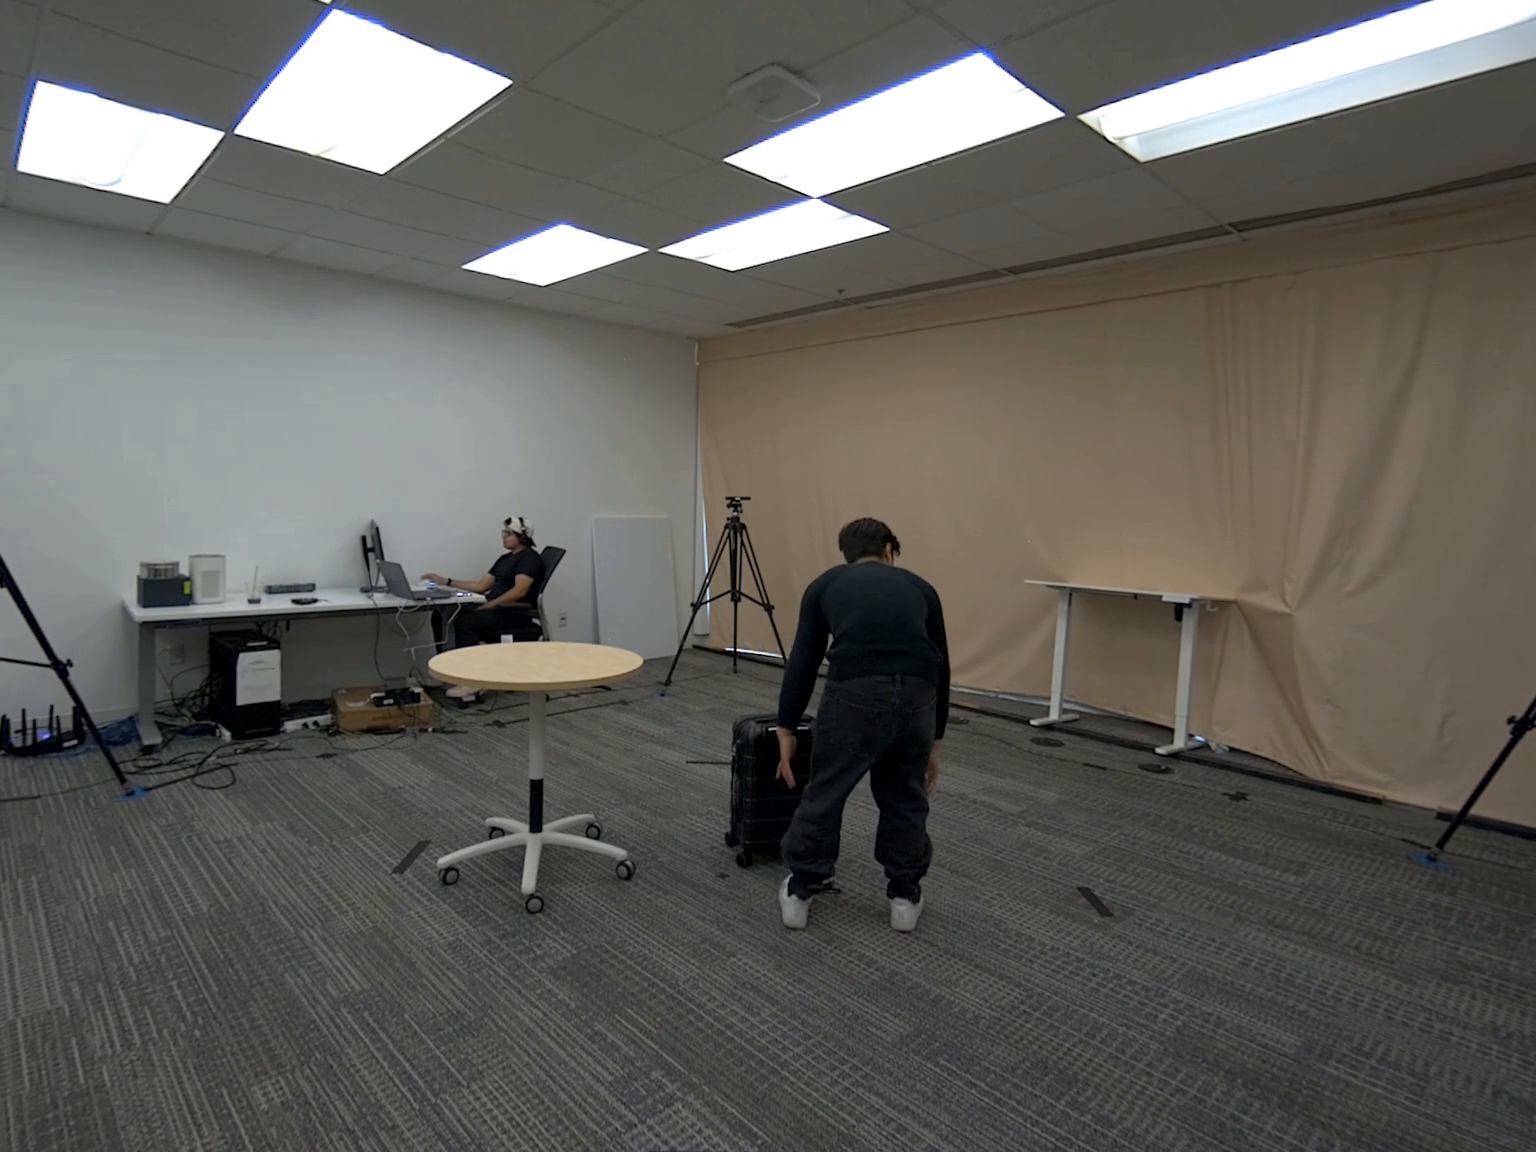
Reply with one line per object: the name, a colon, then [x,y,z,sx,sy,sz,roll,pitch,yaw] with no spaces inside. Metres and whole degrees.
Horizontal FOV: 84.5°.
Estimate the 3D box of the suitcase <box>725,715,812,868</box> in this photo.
suitcase: [0.031,0.815,3.287,0.371,0.548,0.252,1,4,-14]
